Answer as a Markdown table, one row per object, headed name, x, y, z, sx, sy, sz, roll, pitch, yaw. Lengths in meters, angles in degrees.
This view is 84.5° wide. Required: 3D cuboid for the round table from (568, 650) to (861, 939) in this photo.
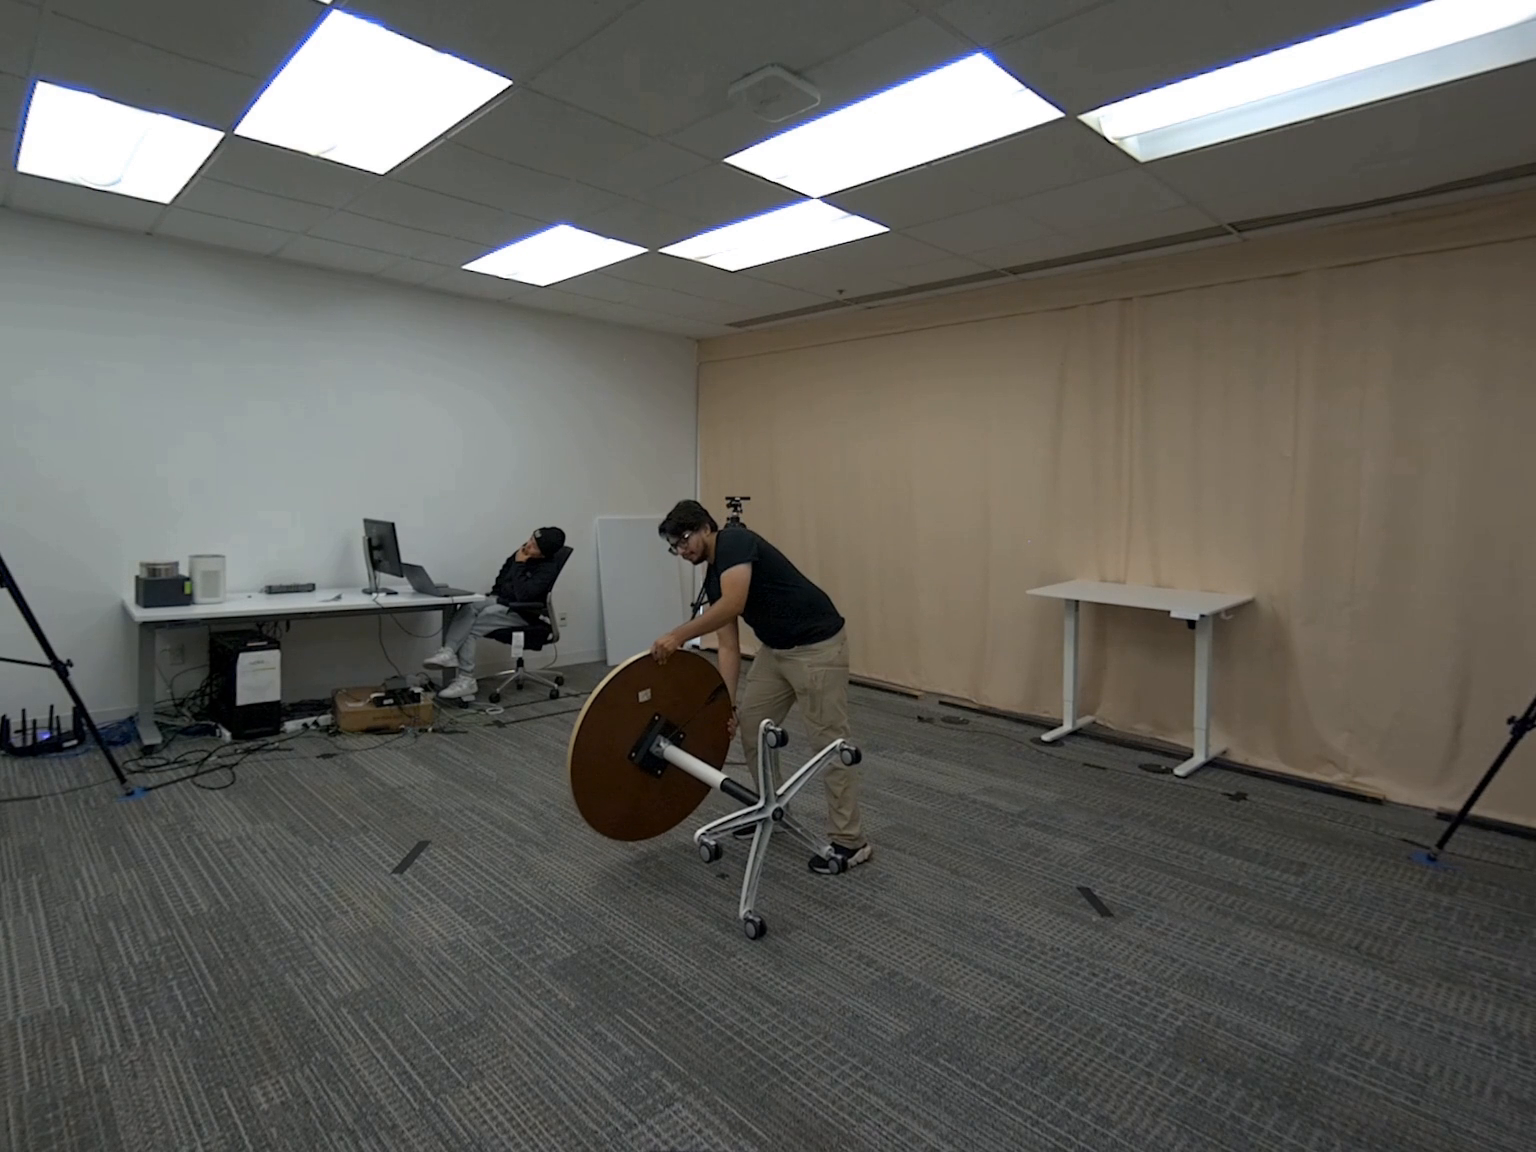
| name | x | y | z | sx | sy | sz | roll | pitch | yaw |
| --- | --- | --- | --- | --- | --- | --- | --- | --- | --- |
| round table | -0.188 | 0.718 | 2.968 | 0.767 | 0.781 | 0.809 | -2 | 11 | -42 |
